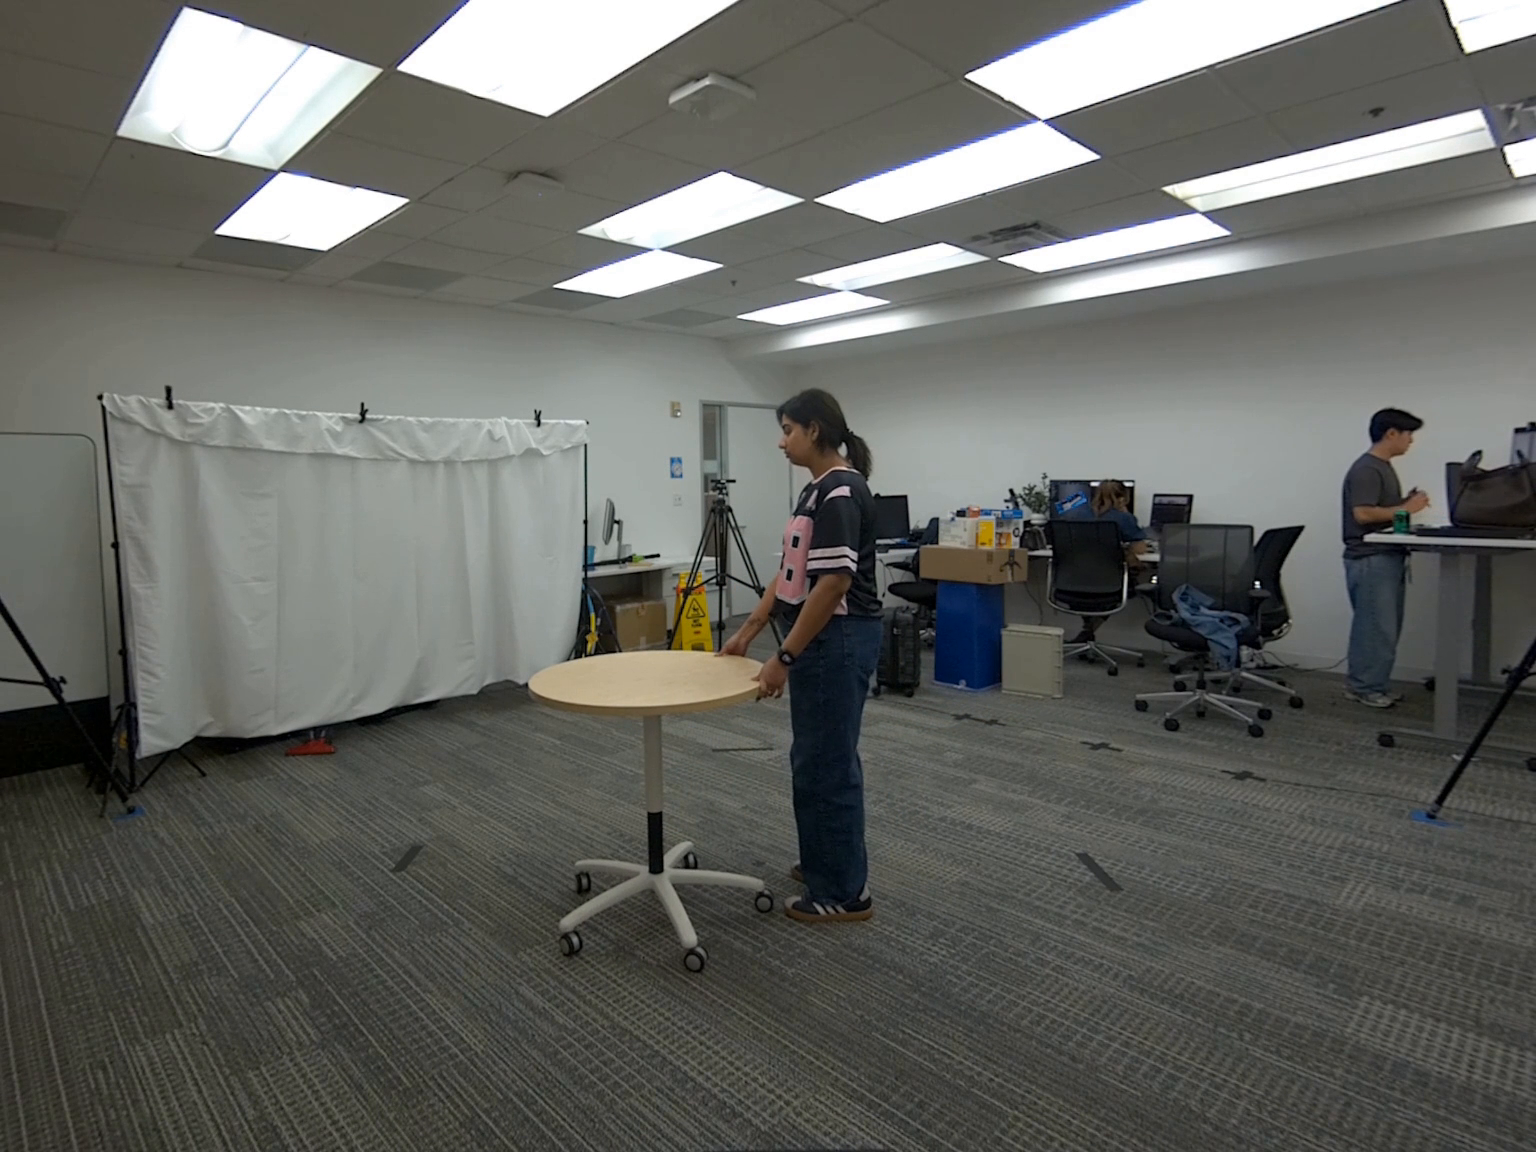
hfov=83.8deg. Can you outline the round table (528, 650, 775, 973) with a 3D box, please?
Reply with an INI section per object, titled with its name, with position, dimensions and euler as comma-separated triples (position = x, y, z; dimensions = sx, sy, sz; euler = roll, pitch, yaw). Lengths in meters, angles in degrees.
[round table]
position = -0.346, 0.703, 2.735
dimensions = 0.784, 0.783, 0.789
euler = -2, 5, -2
